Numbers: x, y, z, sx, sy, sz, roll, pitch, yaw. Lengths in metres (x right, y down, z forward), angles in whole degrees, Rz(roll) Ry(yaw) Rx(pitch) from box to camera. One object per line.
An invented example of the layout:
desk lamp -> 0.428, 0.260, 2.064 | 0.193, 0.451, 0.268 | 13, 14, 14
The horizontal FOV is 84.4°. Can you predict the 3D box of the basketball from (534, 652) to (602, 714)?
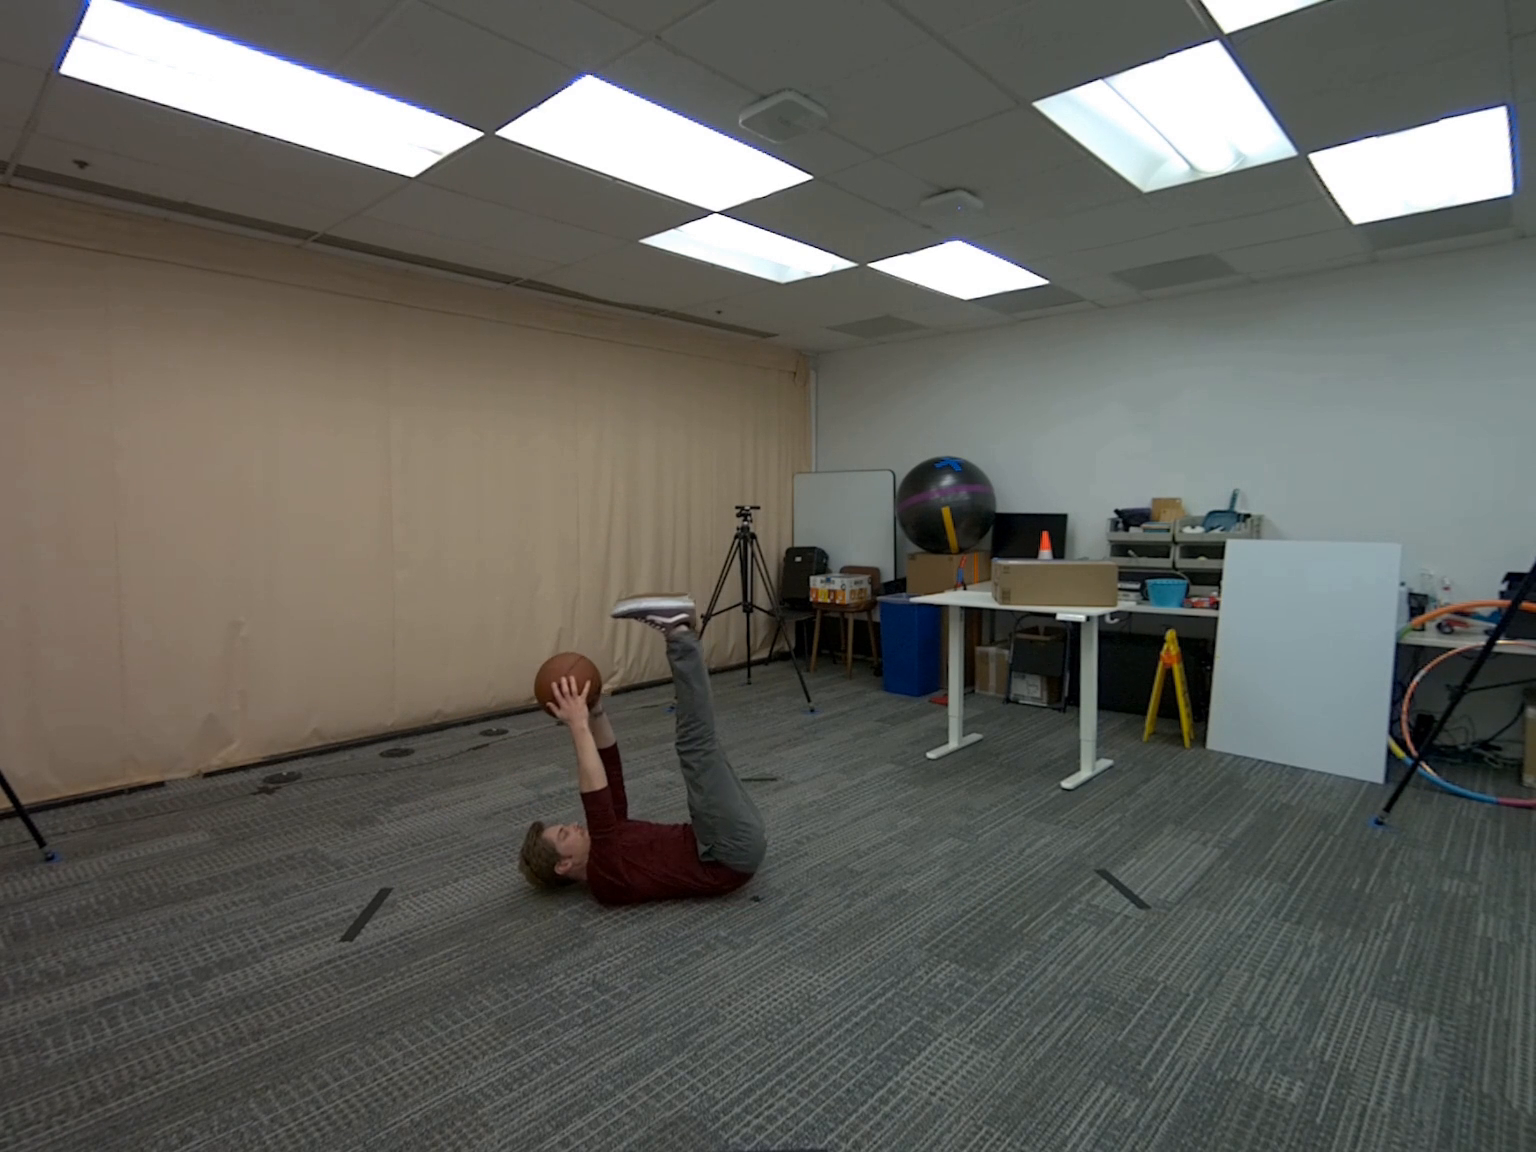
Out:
basketball -> -0.709, 0.394, 3.006 | 0.236, 0.235, 0.237 | 0, 4, -2
